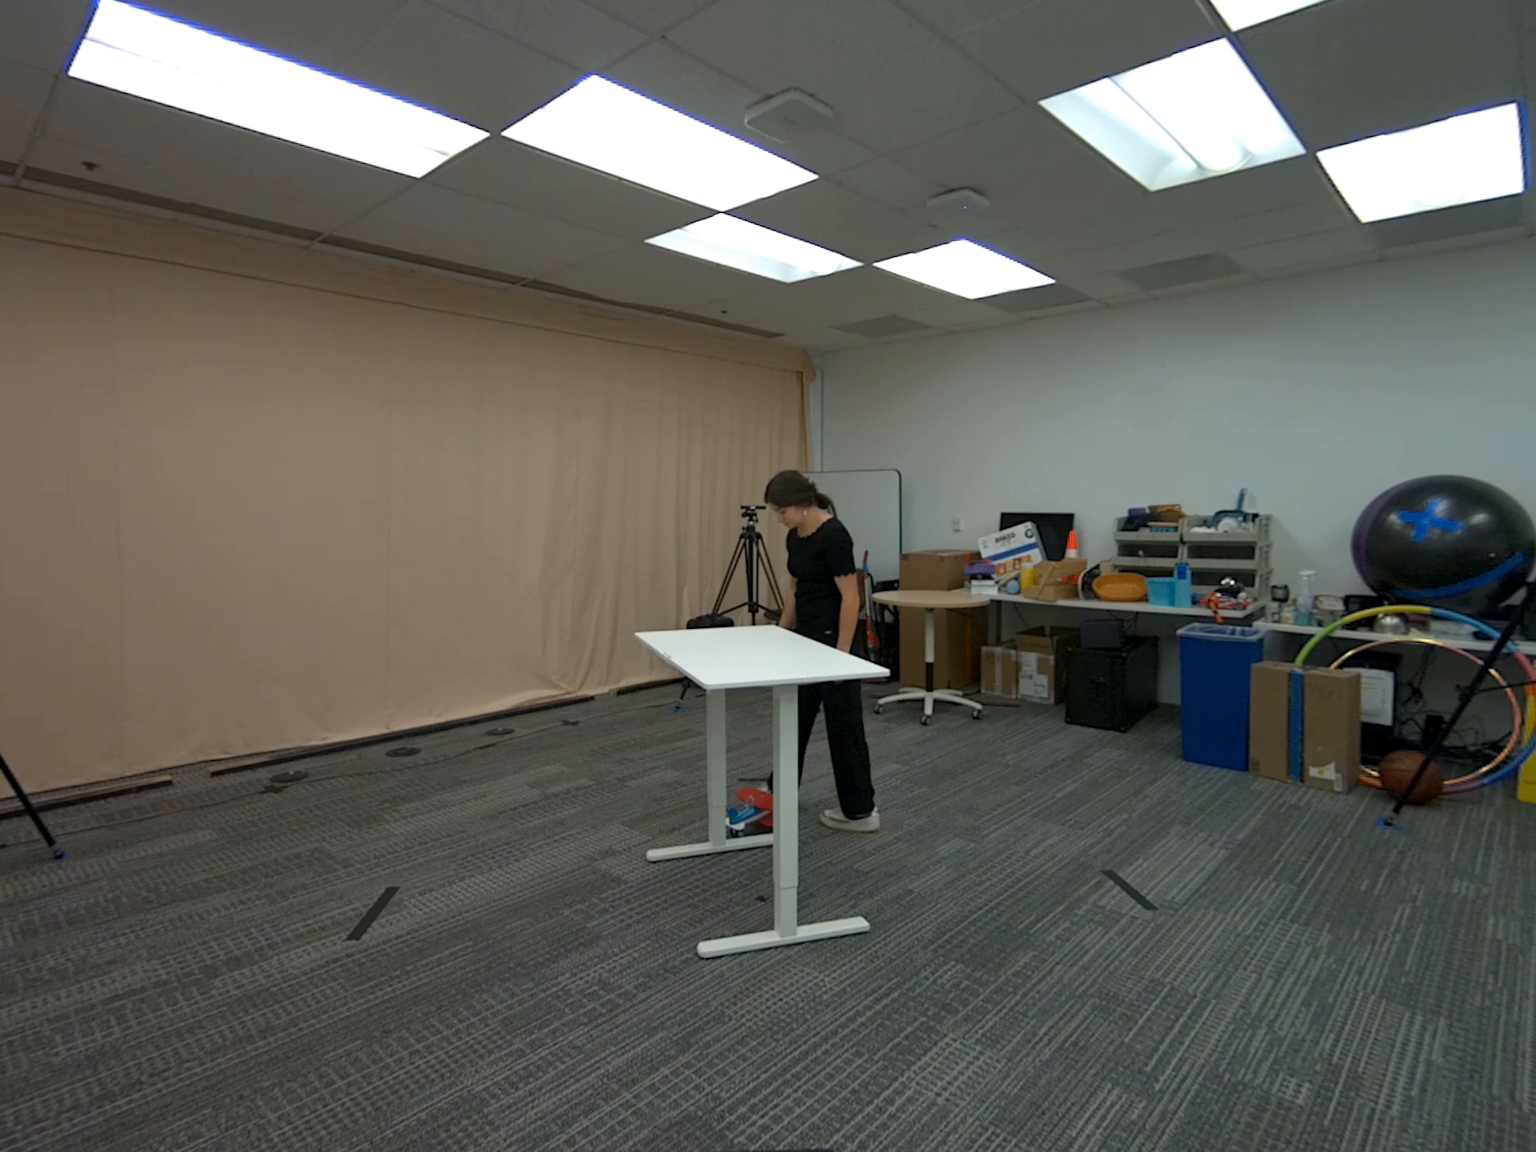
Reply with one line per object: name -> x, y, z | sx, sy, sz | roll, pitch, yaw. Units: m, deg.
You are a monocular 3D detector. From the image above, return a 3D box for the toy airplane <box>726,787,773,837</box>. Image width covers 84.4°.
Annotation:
toy airplane -> -0.049, 1.021, 3.575 | 0.257, 0.156, 0.253 | 2, 3, 23
